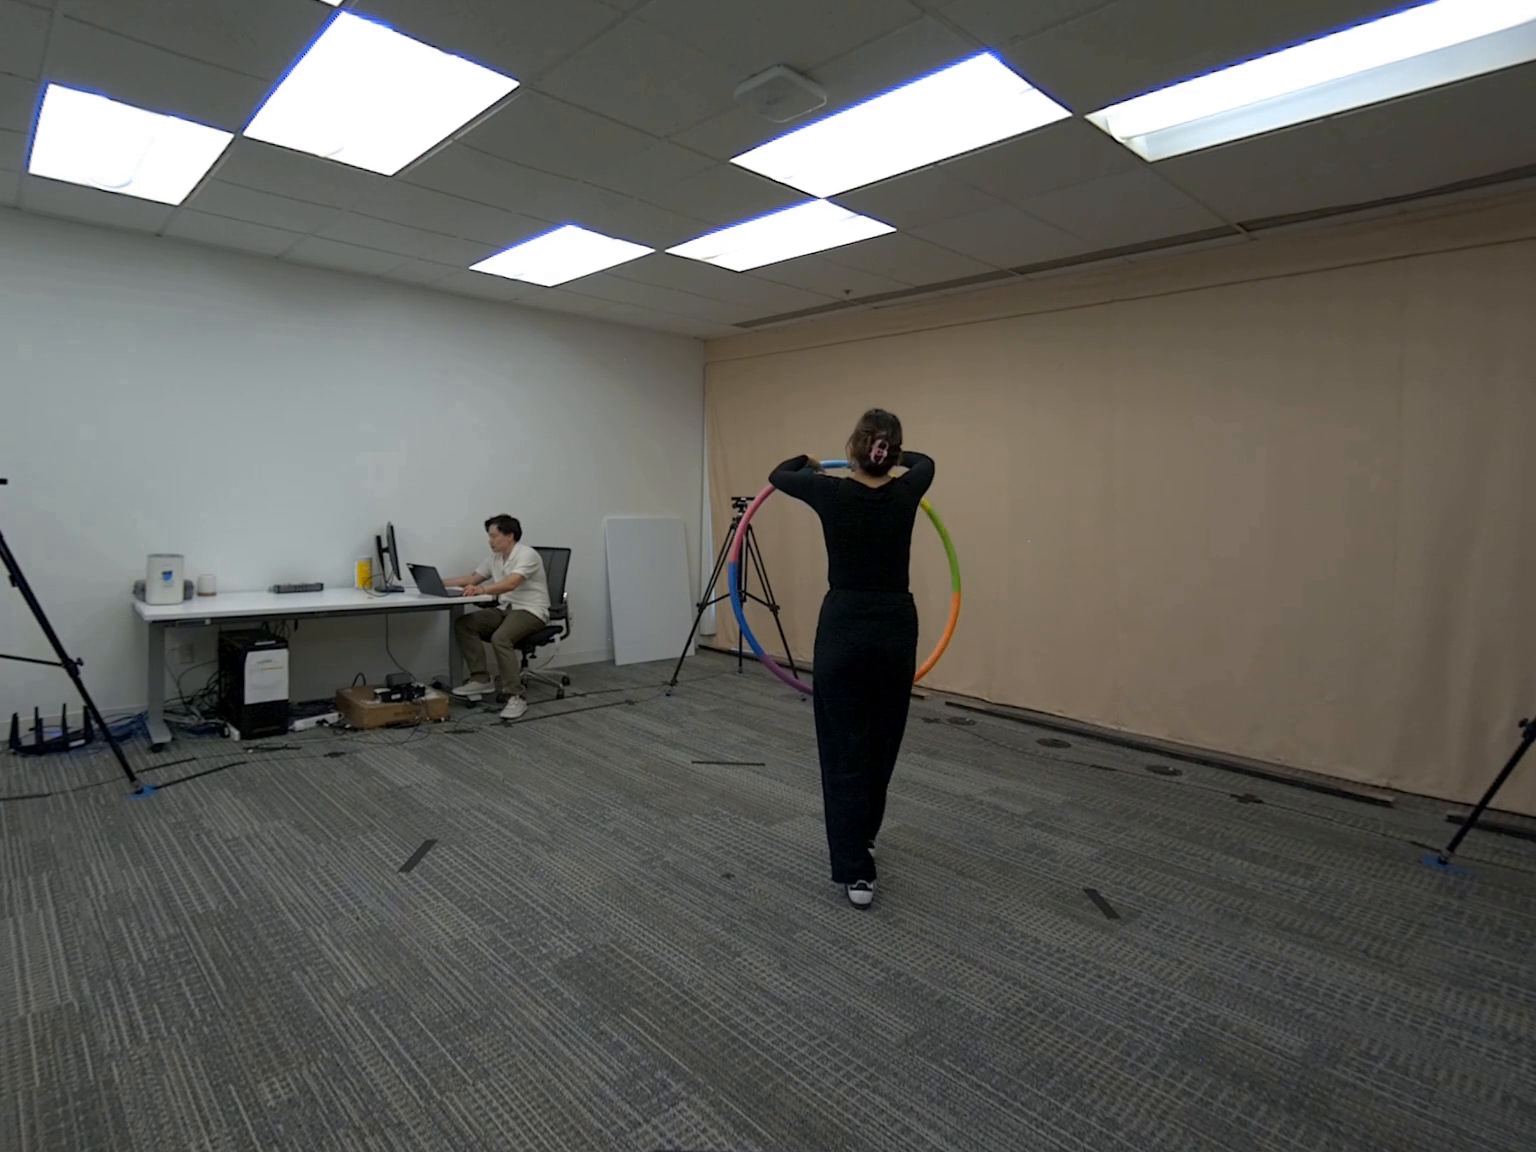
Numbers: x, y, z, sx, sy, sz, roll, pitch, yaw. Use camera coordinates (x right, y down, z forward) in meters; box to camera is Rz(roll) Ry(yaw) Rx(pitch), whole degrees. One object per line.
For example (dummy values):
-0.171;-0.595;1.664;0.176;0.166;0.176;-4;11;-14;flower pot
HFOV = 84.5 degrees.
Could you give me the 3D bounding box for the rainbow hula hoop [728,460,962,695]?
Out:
0.314;0.009;3.414;0.976;0.994;0.051;0;-12;-11;rainbow hula hoop
